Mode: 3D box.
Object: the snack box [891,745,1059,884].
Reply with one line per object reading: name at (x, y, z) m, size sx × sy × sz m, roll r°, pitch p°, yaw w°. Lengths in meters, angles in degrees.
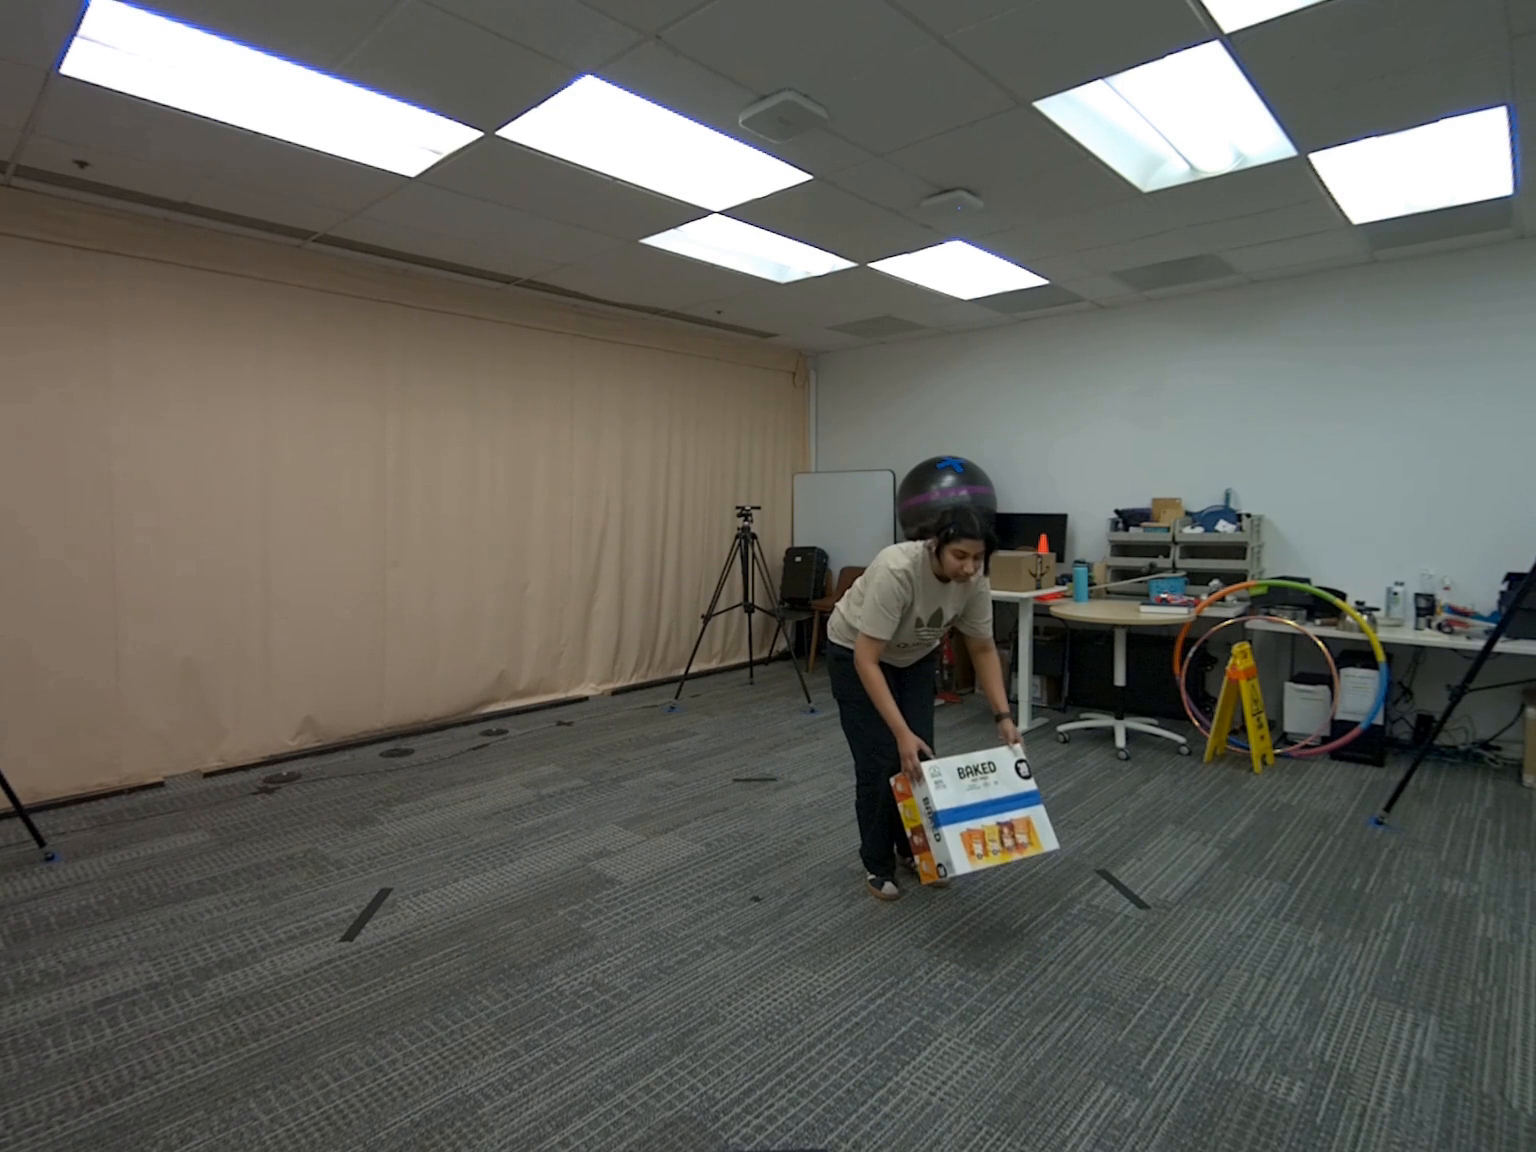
snack box at (0.670, 0.768, 2.736) m, size 0.396 × 0.347 × 0.206 m, roll -5°, pitch -26°, yaw -23°
